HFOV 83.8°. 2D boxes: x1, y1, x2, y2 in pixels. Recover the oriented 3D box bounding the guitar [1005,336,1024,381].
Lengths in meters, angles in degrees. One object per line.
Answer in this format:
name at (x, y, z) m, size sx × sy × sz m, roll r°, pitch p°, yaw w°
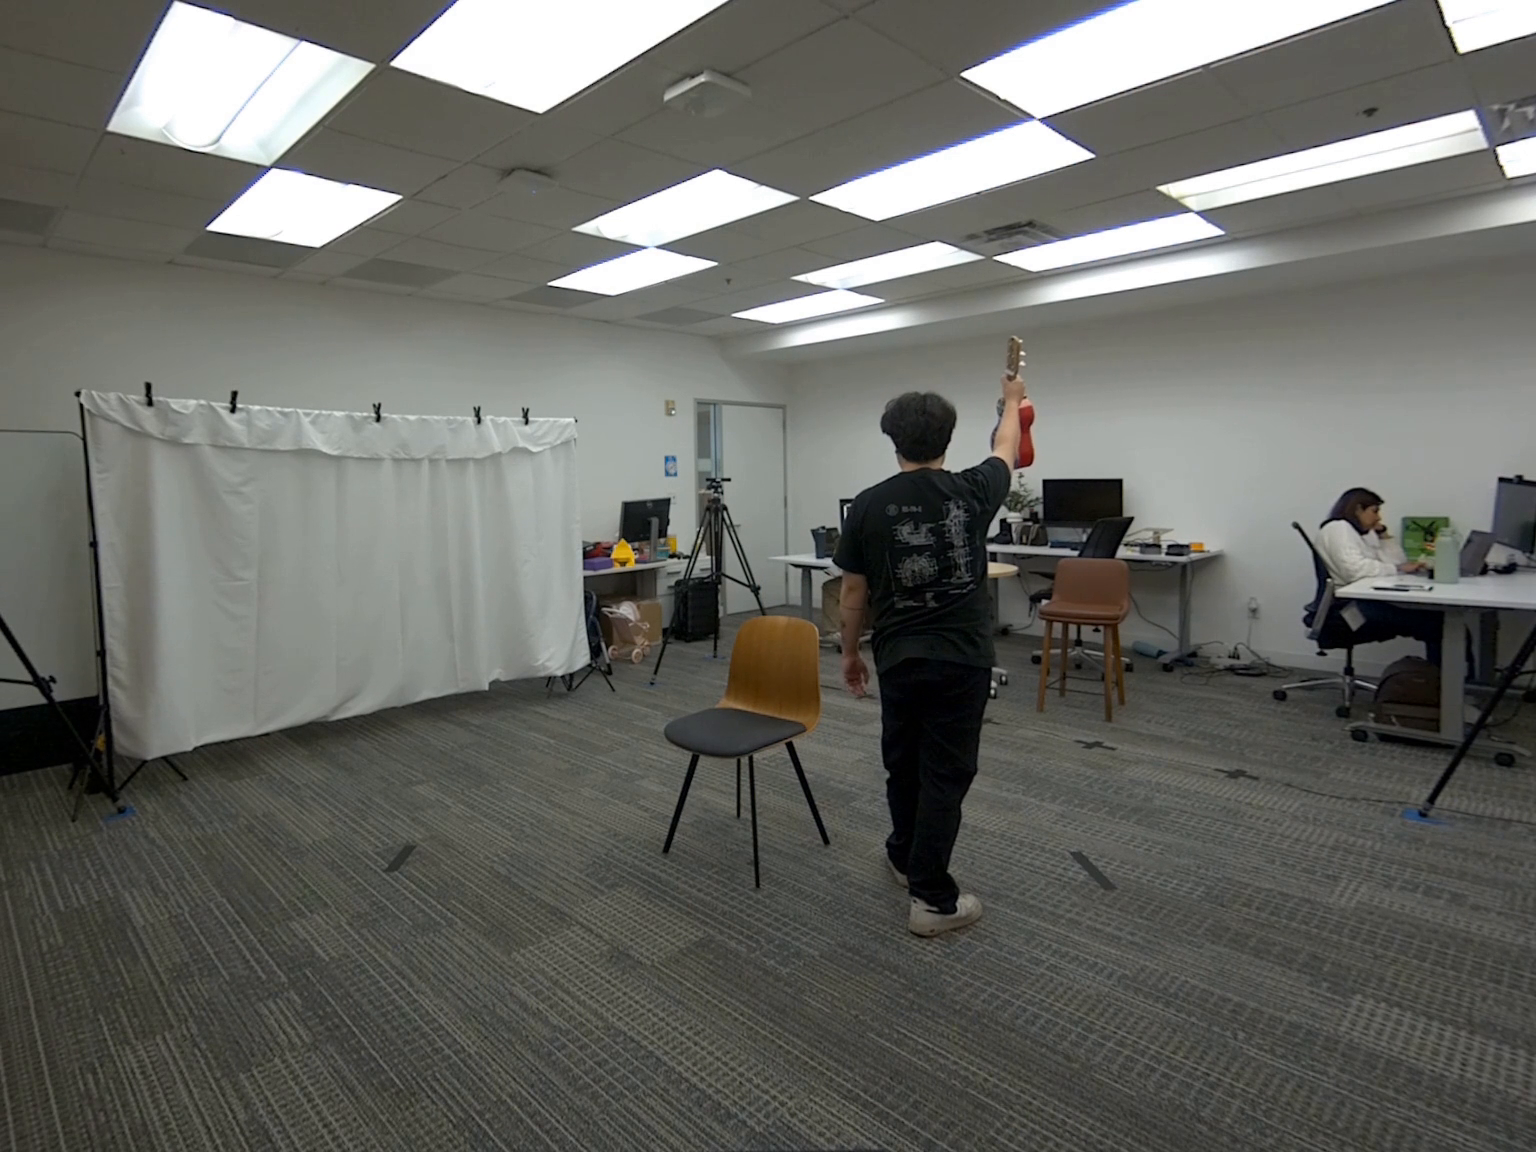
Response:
guitar at (0.898, -0.601, 3.046) m, size 0.070 × 0.484 × 0.200 m, roll -13°, pitch 43°, yaw -13°
